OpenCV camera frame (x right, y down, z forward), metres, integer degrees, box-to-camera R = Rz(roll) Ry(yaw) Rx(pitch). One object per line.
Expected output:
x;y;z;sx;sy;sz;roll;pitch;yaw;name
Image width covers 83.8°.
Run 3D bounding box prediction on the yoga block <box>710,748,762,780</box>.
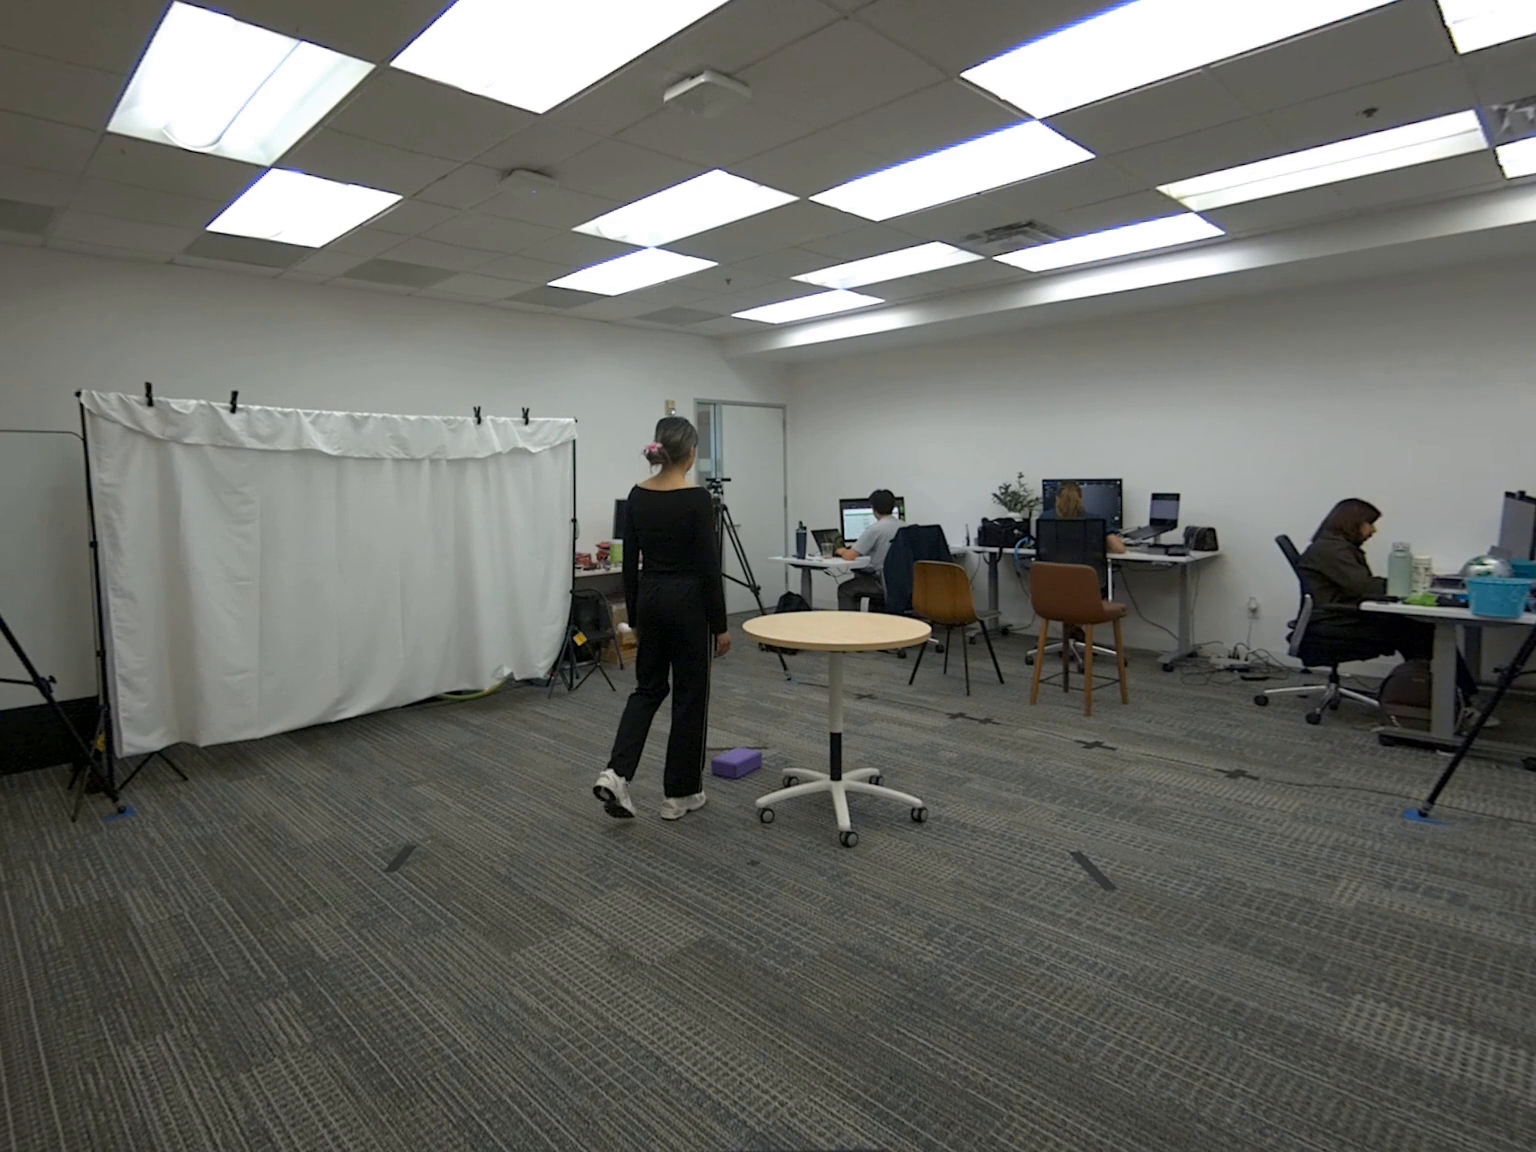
-0.148;0.894;4.098;0.153;0.076;0.224;2;6;35;yoga block
